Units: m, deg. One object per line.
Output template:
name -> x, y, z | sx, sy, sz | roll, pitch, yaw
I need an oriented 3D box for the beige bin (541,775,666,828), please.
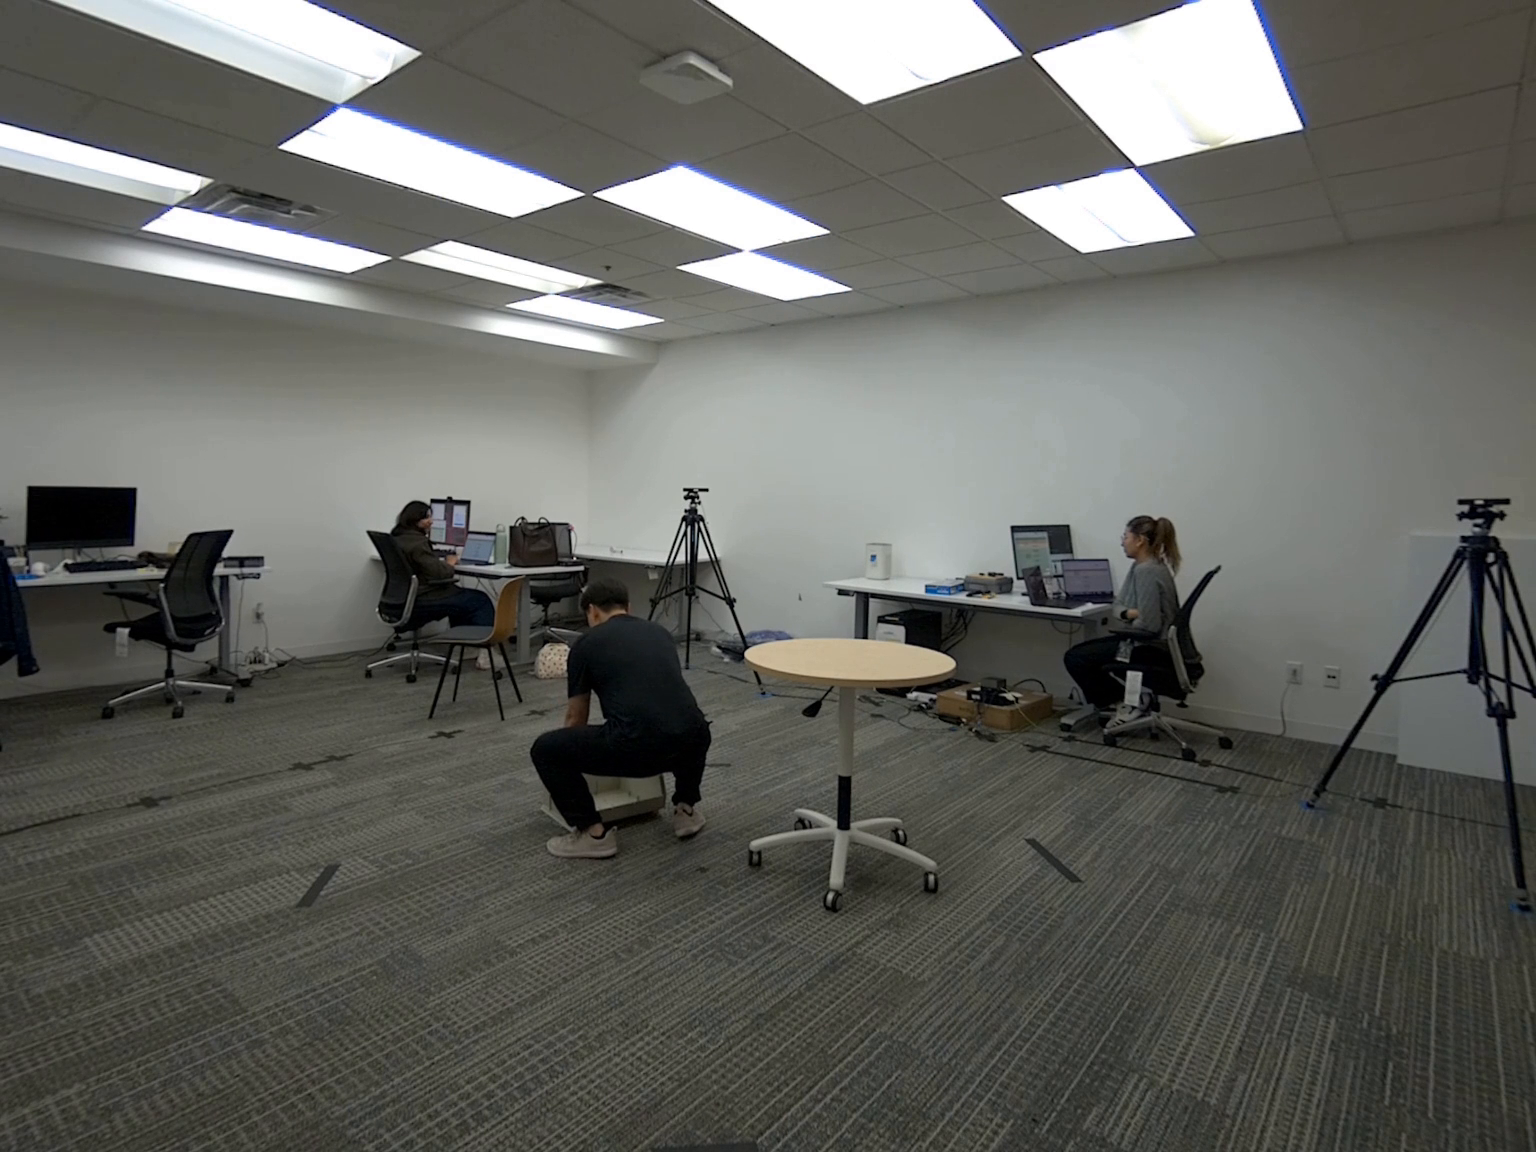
beige bin -> -0.722, 0.922, 3.649 | 0.410, 0.188, 0.389 | -4, 5, -37
